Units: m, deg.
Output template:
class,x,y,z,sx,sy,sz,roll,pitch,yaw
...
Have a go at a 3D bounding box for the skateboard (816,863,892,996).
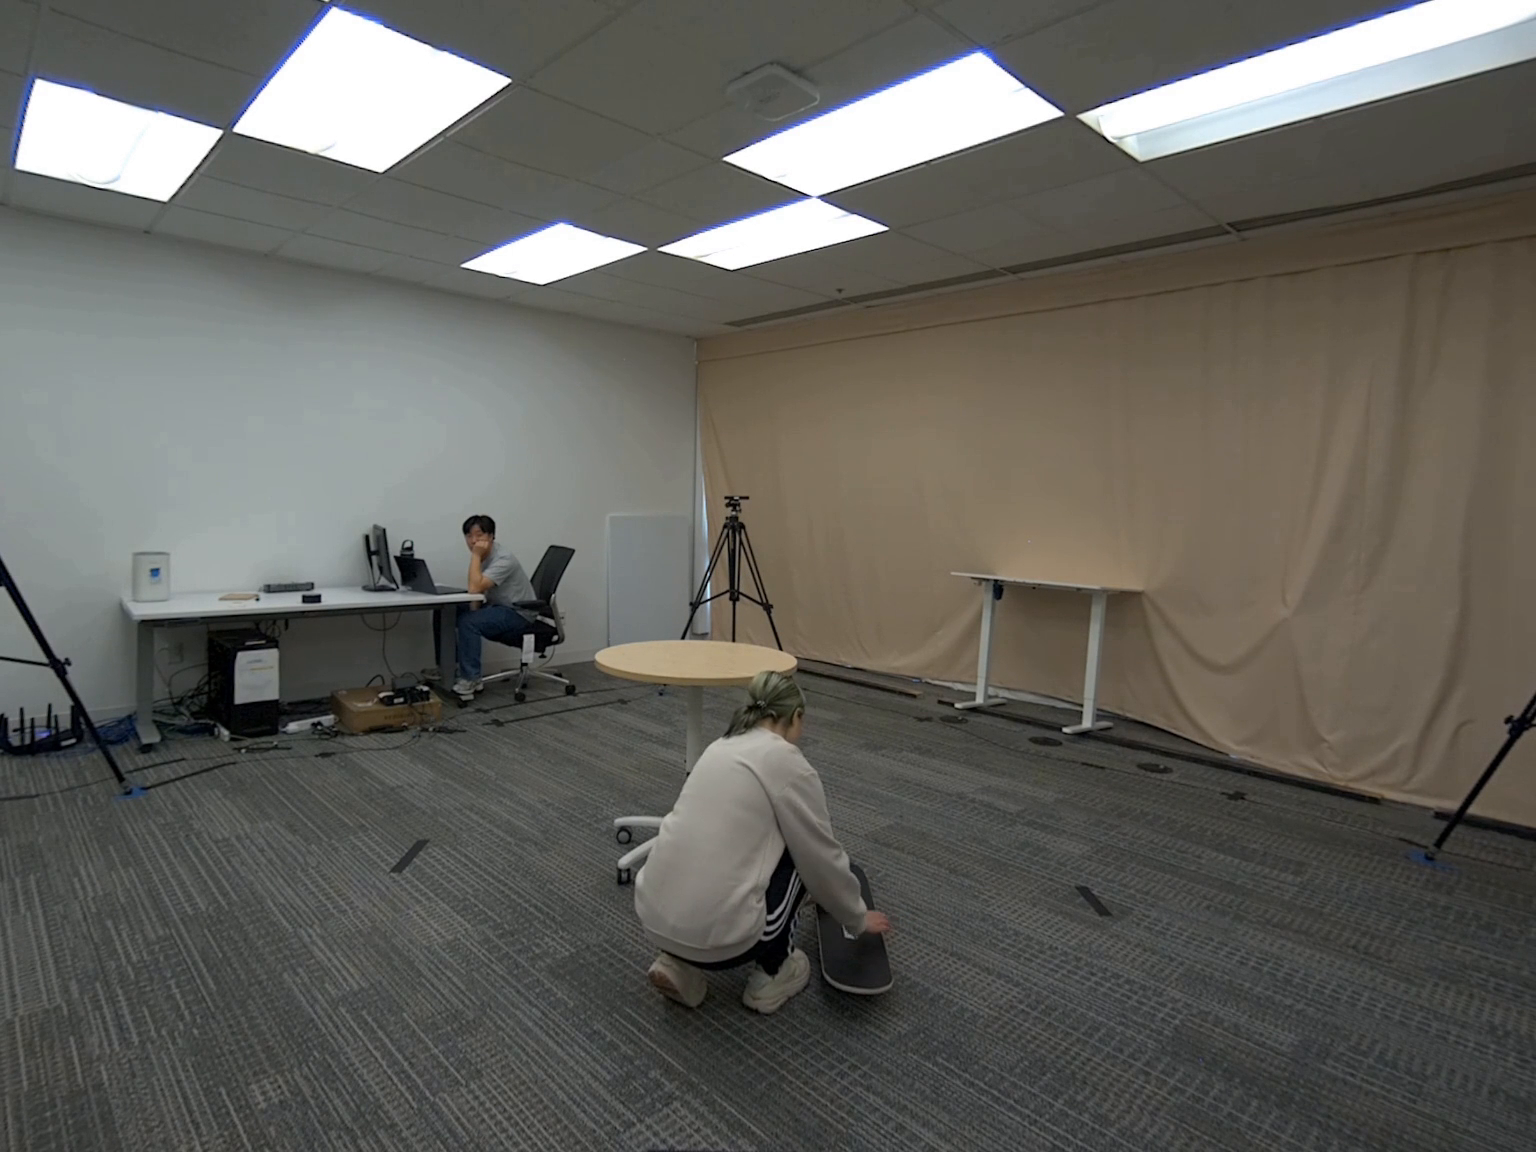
class,x,y,z,sx,sy,sz,roll,pitch,yaw
skateboard,0.240,1.096,2.620,0.193,0.110,0.788,1,6,0
